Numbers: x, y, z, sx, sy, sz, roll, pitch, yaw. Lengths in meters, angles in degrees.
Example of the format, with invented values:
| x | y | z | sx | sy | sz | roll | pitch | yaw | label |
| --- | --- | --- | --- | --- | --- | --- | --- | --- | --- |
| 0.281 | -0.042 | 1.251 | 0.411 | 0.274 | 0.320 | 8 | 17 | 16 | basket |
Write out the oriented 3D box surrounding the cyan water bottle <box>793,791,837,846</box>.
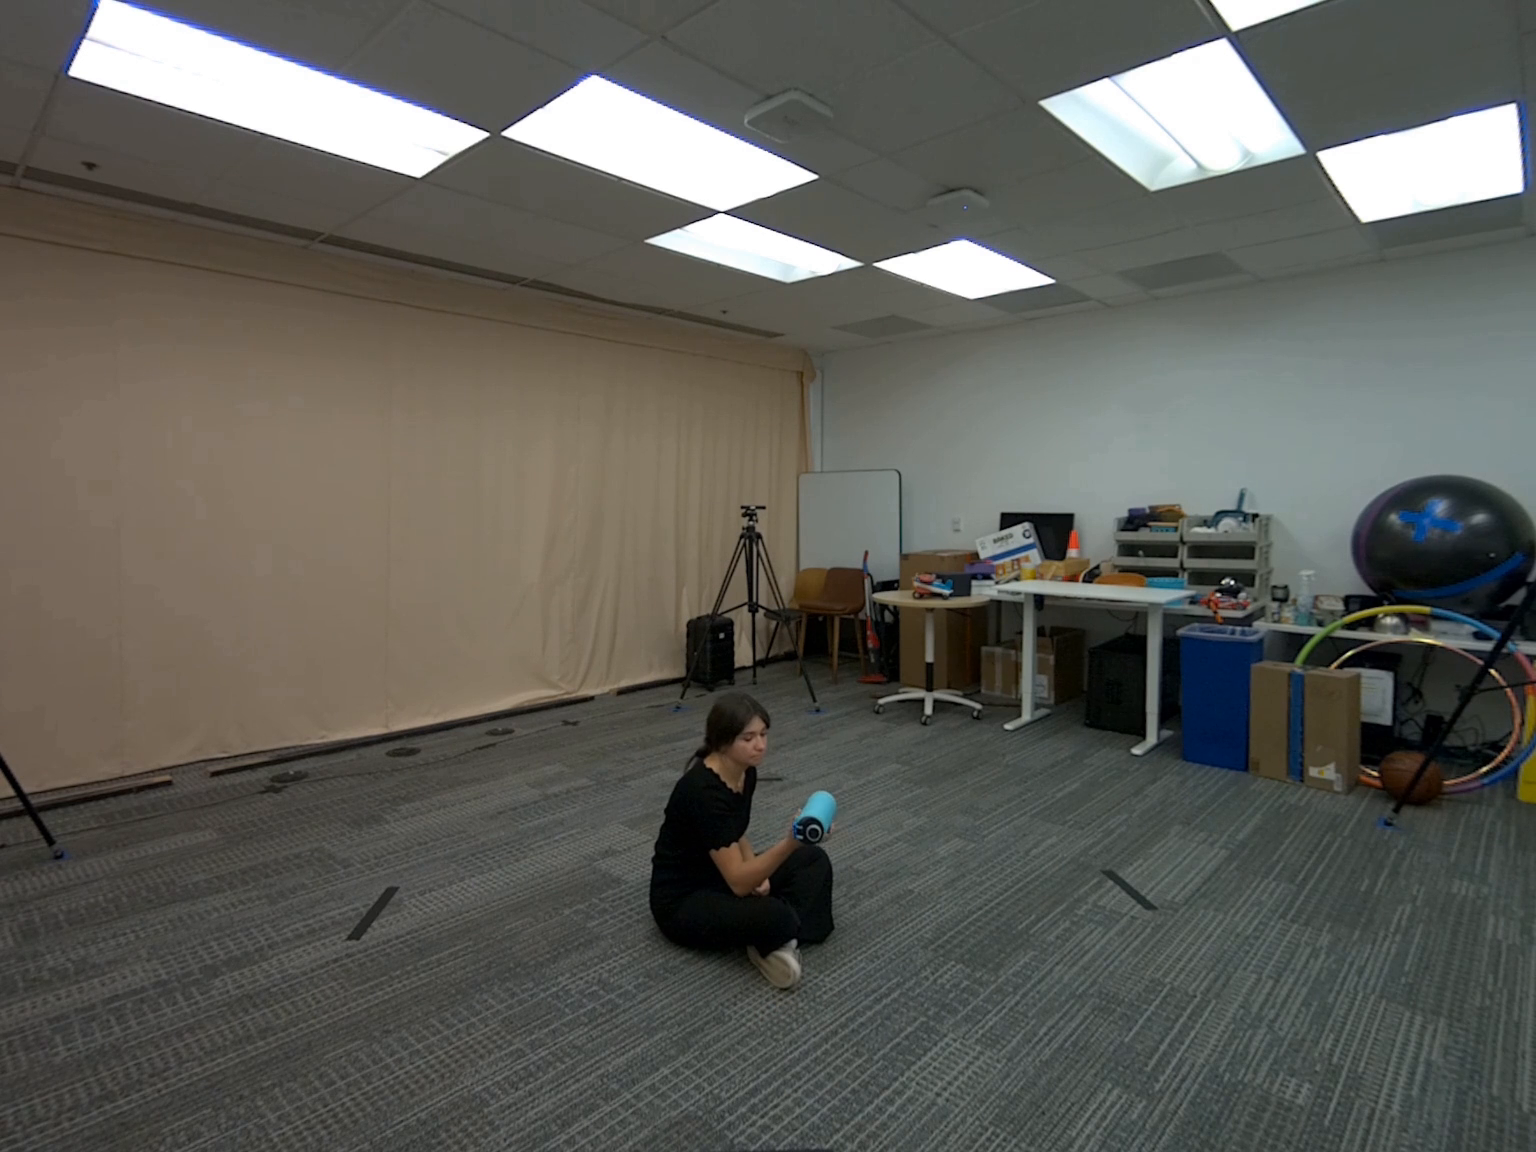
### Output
| x | y | z | sx | sy | sz | roll | pitch | yaw | label |
| --- | --- | --- | --- | --- | --- | --- | --- | --- | --- |
| 0.139 | 0.706 | 2.431 | 0.094 | 0.092 | 0.279 | 1 | 2 | 12 | cyan water bottle |
